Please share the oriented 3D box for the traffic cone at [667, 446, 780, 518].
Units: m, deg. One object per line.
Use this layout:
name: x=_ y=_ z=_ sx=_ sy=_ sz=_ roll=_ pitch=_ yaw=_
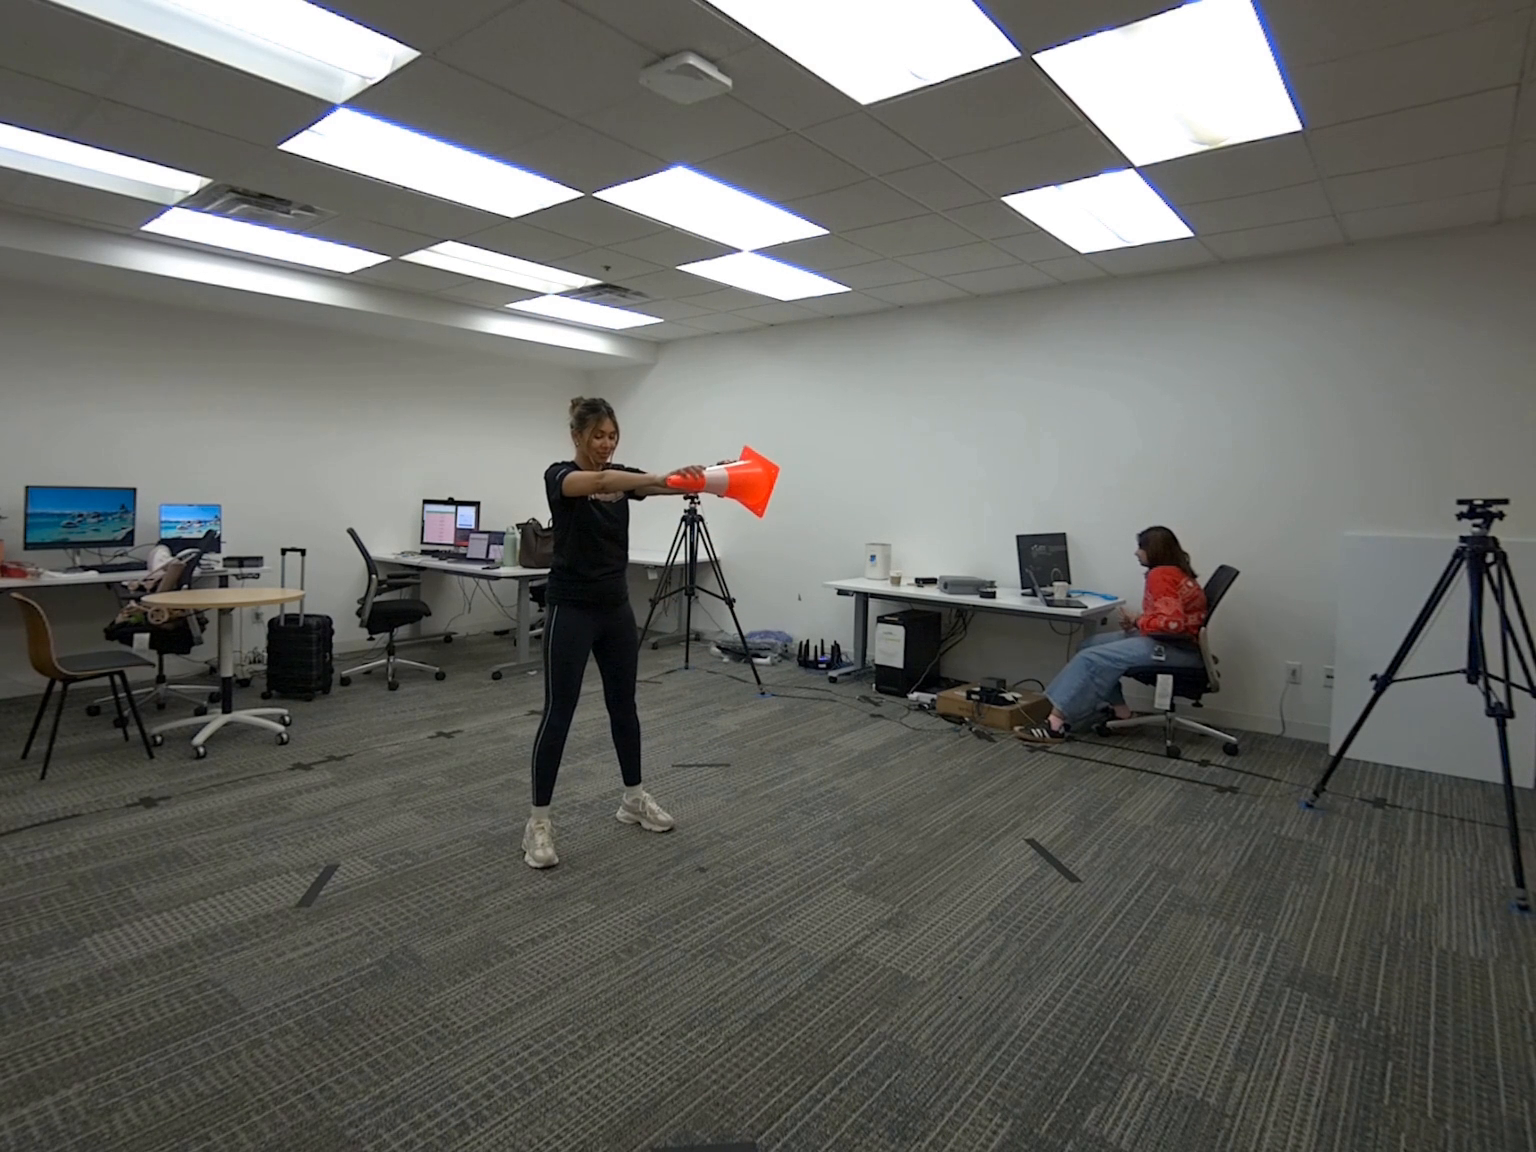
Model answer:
traffic cone: x=-0.198 y=-0.319 z=2.865 sx=0.372 sy=0.202 sz=0.212 roll=-5 pitch=33 yaw=-42
